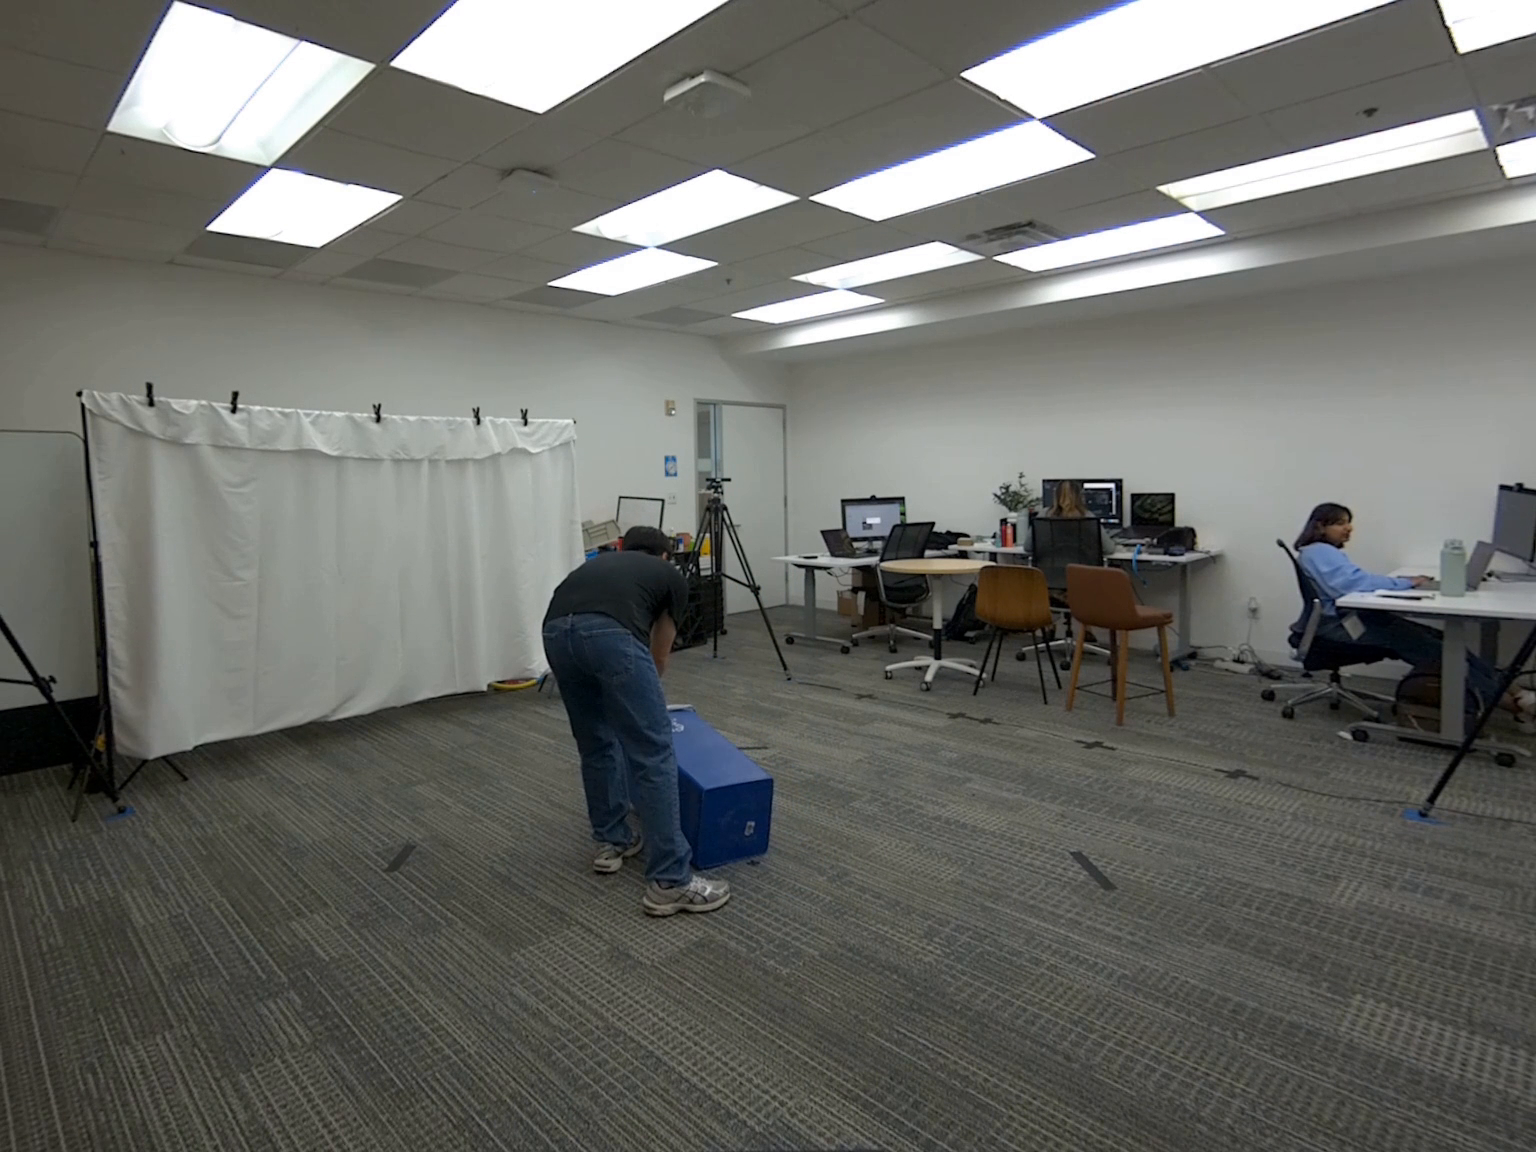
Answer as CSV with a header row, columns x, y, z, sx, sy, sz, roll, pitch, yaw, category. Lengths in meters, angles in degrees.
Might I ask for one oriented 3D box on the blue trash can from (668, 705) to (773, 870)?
x,y,z,sx,sy,sz,roll,pitch,yaw,category
-0.293,0.821,3.402,0.365,0.375,0.737,-2,12,-31,blue trash can
